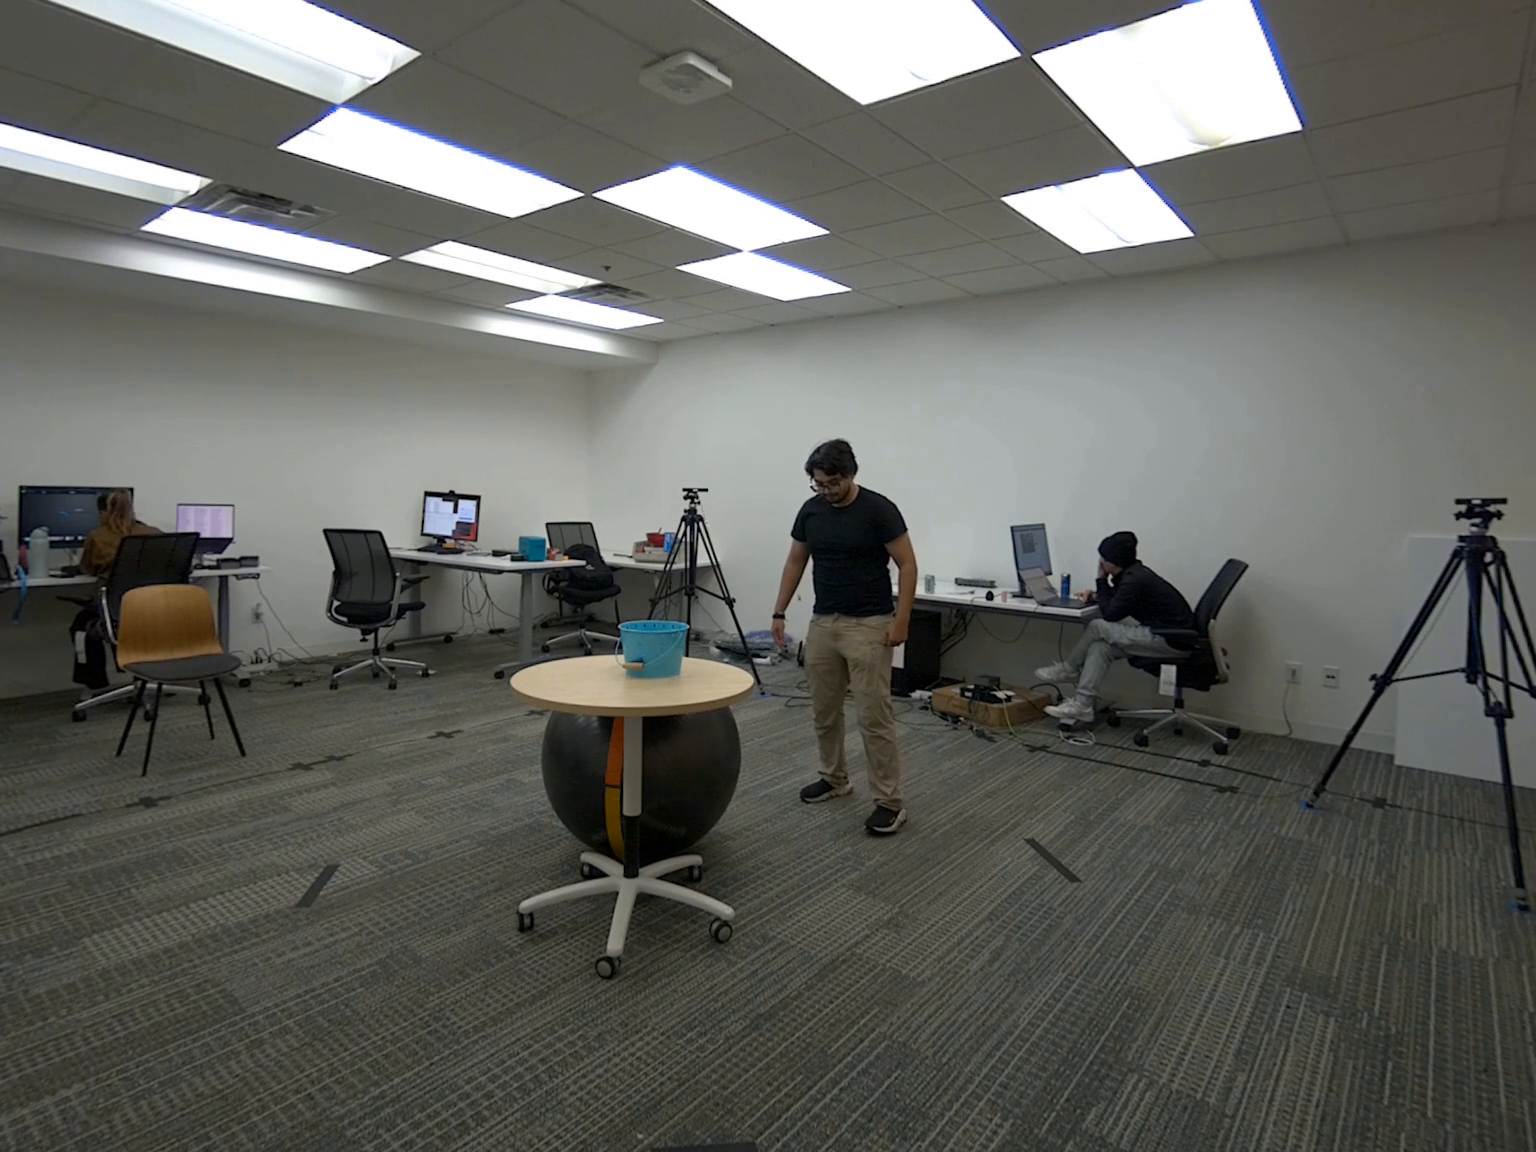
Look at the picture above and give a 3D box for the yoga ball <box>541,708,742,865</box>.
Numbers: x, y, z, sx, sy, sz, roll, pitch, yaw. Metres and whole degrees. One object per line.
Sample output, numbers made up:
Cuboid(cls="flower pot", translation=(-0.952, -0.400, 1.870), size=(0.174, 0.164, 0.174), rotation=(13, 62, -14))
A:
Cuboid(cls="yoga ball", translation=(-0.495, 0.685, 3.257), size=(0.757, 0.755, 0.762), rotation=(1, 4, -2))
